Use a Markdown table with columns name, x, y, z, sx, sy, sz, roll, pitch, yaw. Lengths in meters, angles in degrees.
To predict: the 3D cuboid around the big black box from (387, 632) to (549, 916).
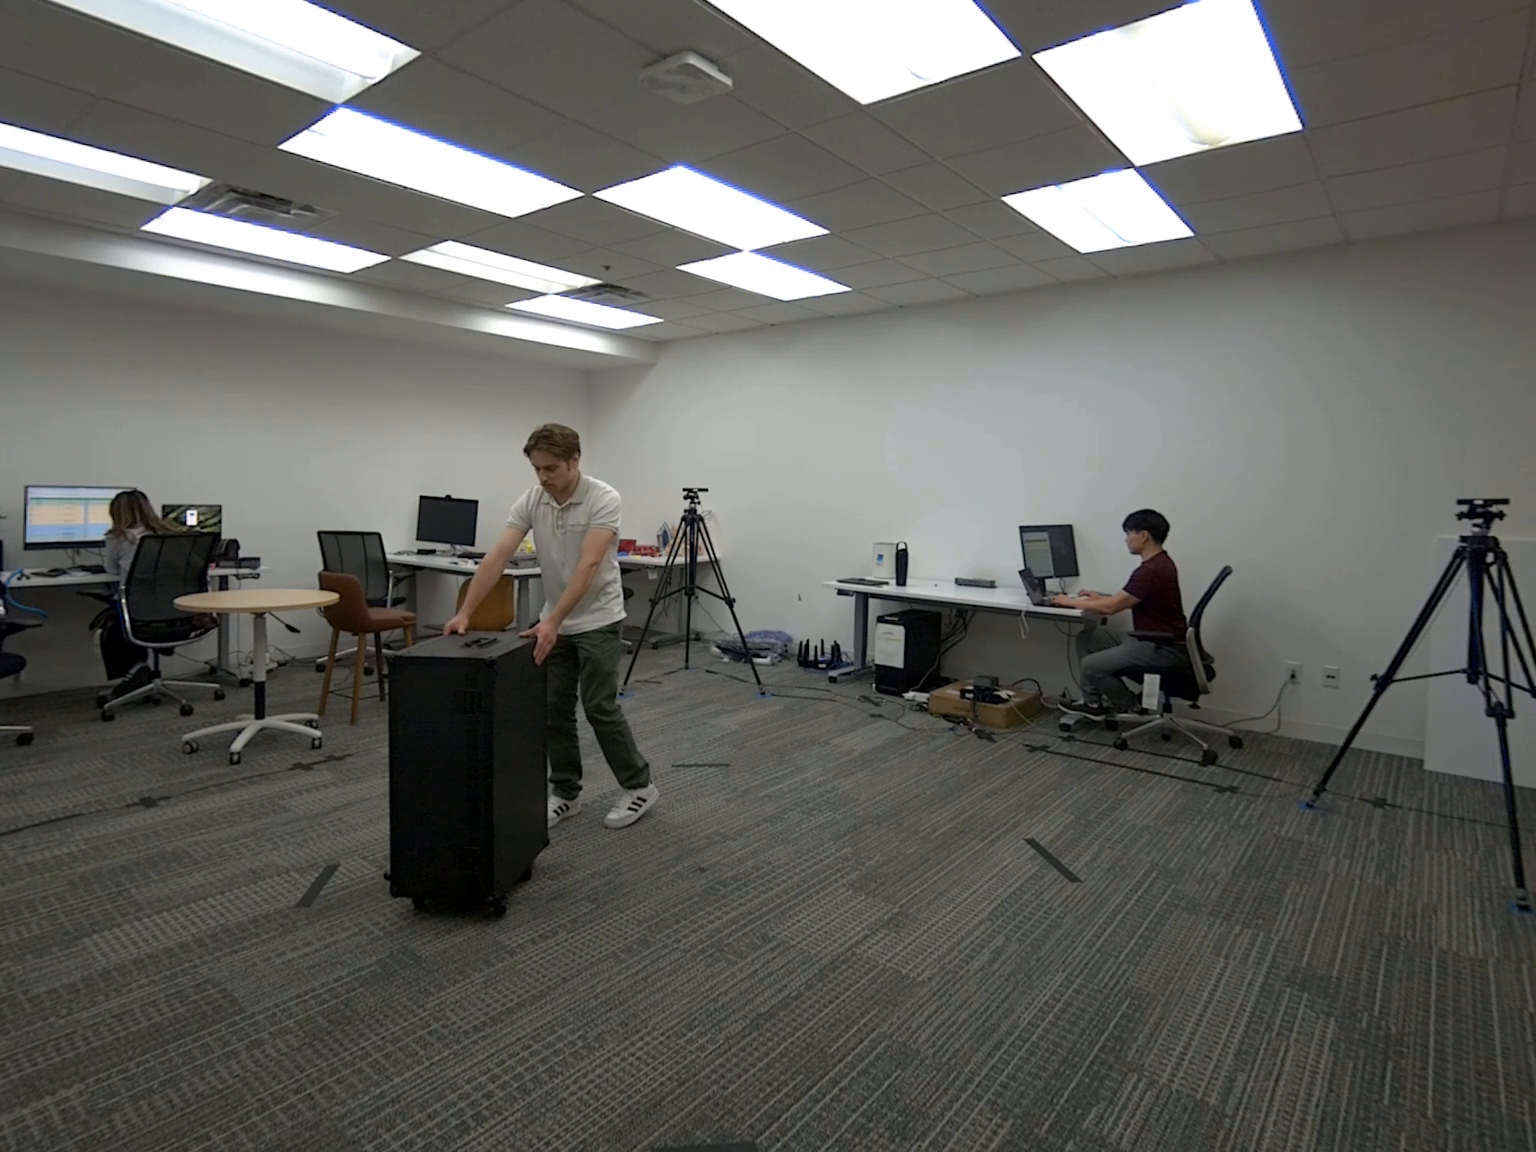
| name | x | y | z | sx | sy | sz | roll | pitch | yaw |
| --- | --- | --- | --- | --- | --- | --- | --- | --- | --- |
| big black box | -1.016 | 0.656 | 2.903 | 0.388 | 0.866 | 0.521 | 1 | 3 | 6 |
